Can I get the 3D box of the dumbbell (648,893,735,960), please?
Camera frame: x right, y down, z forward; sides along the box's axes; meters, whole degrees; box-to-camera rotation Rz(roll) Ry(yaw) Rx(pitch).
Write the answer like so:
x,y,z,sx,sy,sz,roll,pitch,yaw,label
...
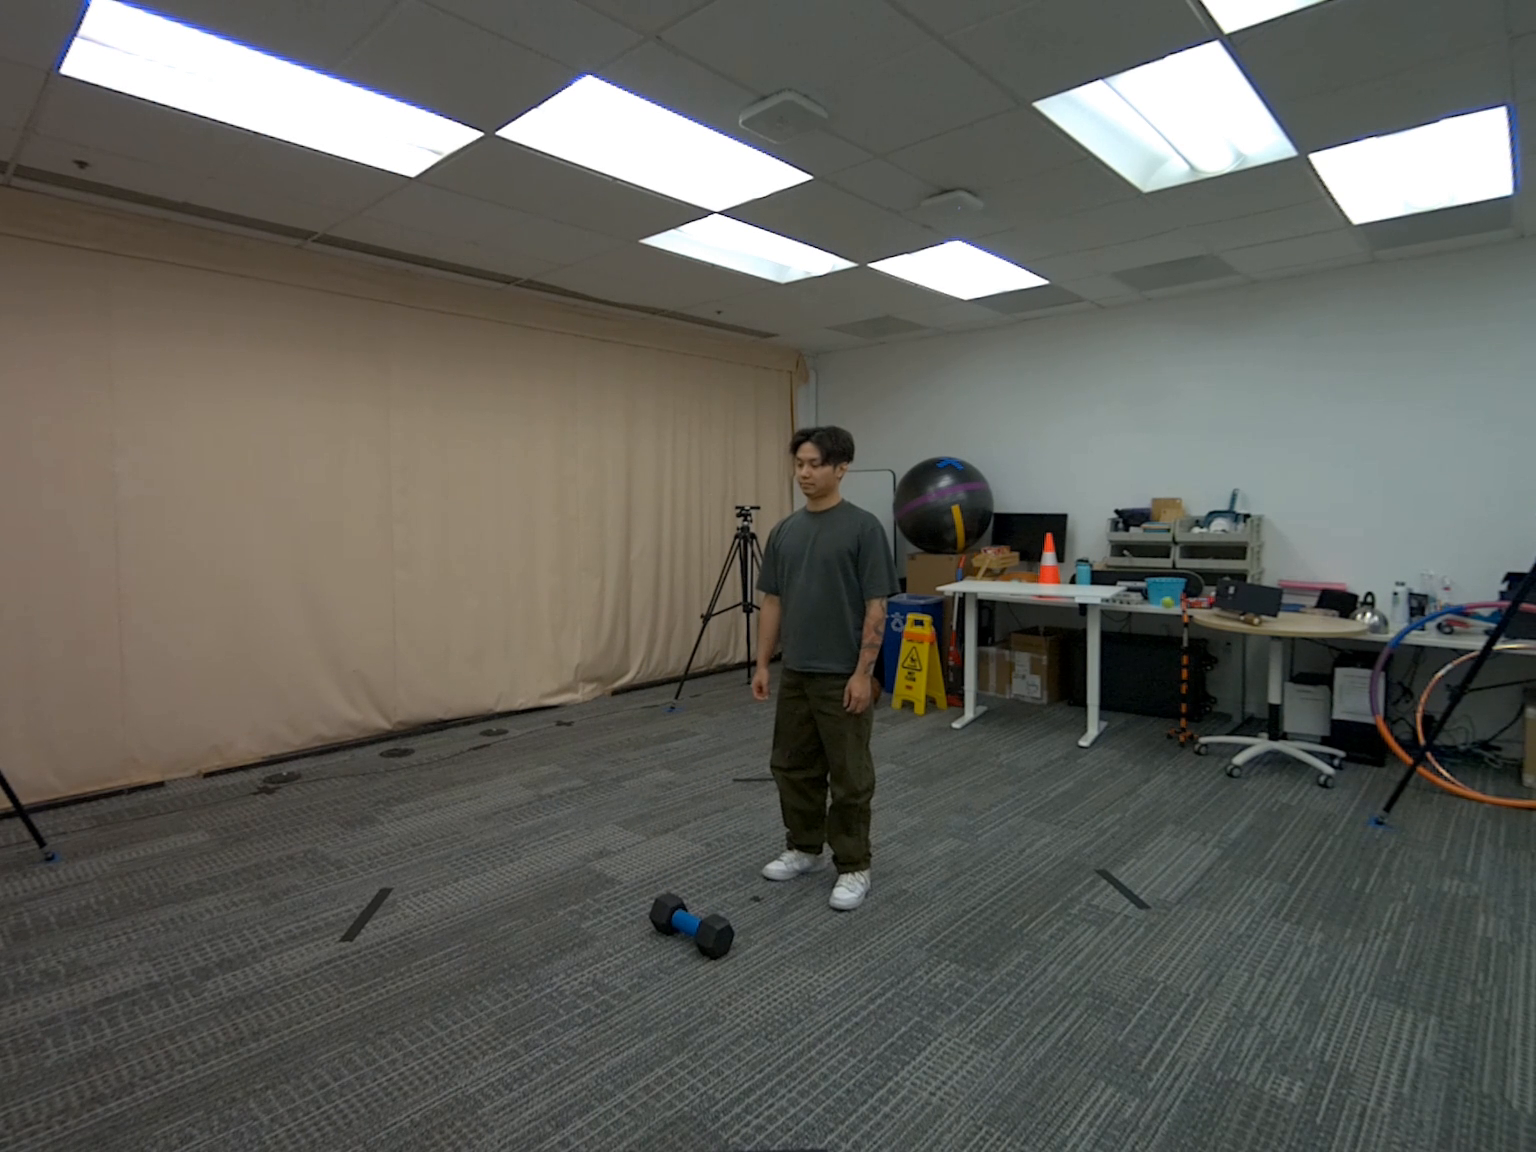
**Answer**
x,y,z,sx,sy,sz,roll,pitch,yaw,label
-0.244,1.116,2.688,0.303,0.120,0.107,4,36,42,dumbbell
